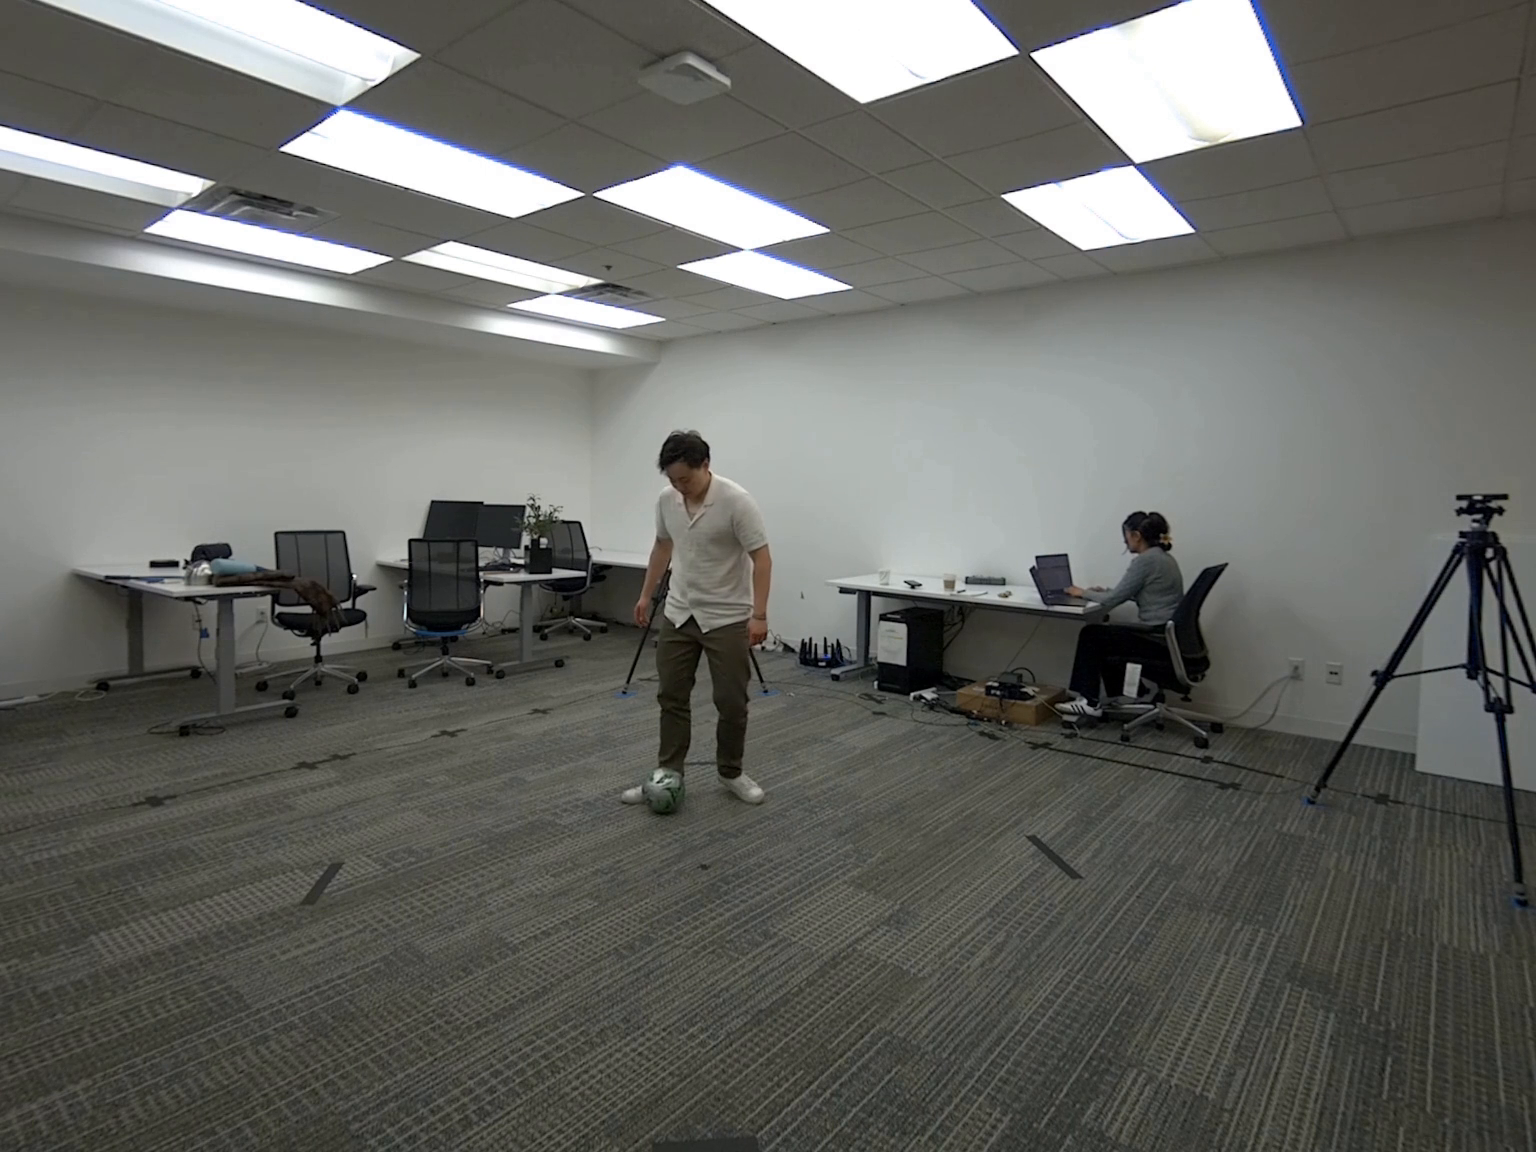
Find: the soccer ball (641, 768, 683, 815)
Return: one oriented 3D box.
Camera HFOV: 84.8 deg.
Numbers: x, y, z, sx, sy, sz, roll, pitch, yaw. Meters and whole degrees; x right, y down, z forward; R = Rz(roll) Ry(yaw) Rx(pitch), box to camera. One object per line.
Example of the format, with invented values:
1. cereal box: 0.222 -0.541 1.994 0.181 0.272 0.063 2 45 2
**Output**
1. soccer ball: -0.459 0.920 3.650 0.187 0.187 0.188 0 4 -2
